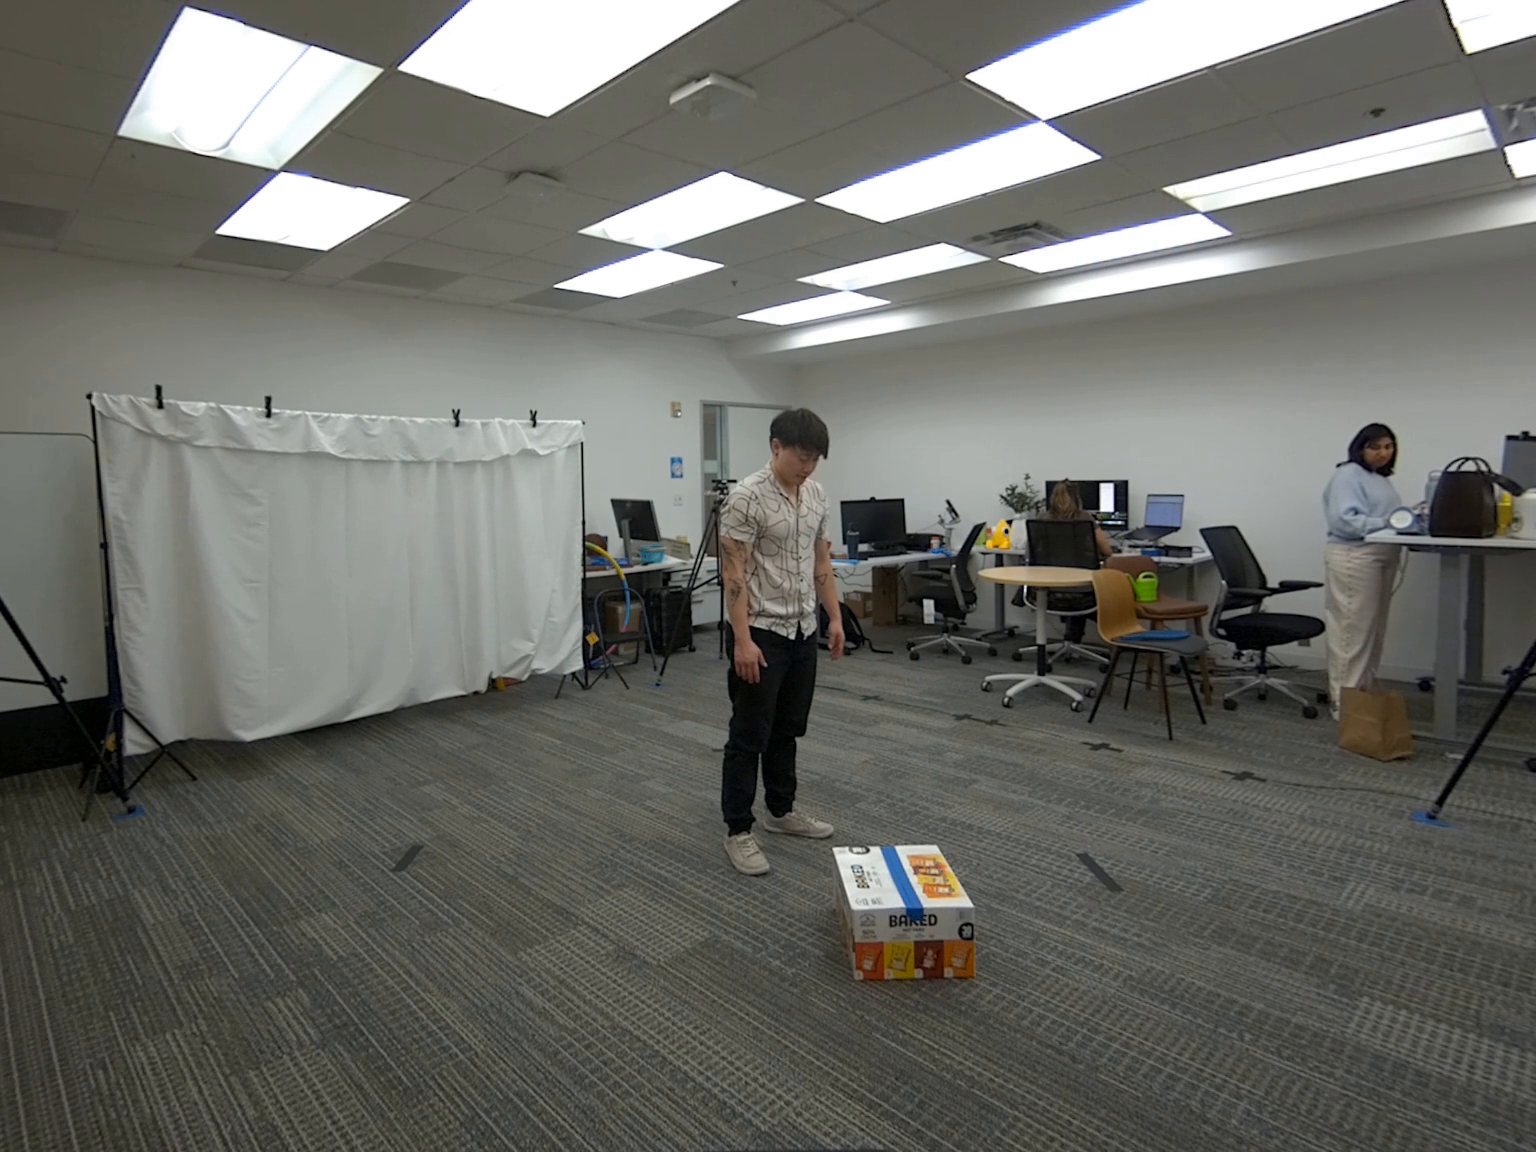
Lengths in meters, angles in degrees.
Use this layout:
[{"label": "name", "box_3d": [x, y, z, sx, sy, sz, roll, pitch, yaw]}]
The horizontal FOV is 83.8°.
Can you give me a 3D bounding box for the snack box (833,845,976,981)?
[{"label": "snack box", "box_3d": [0.399, 1.001, 2.566, 0.340, 0.205, 0.408, -1, 6, -2]}]
